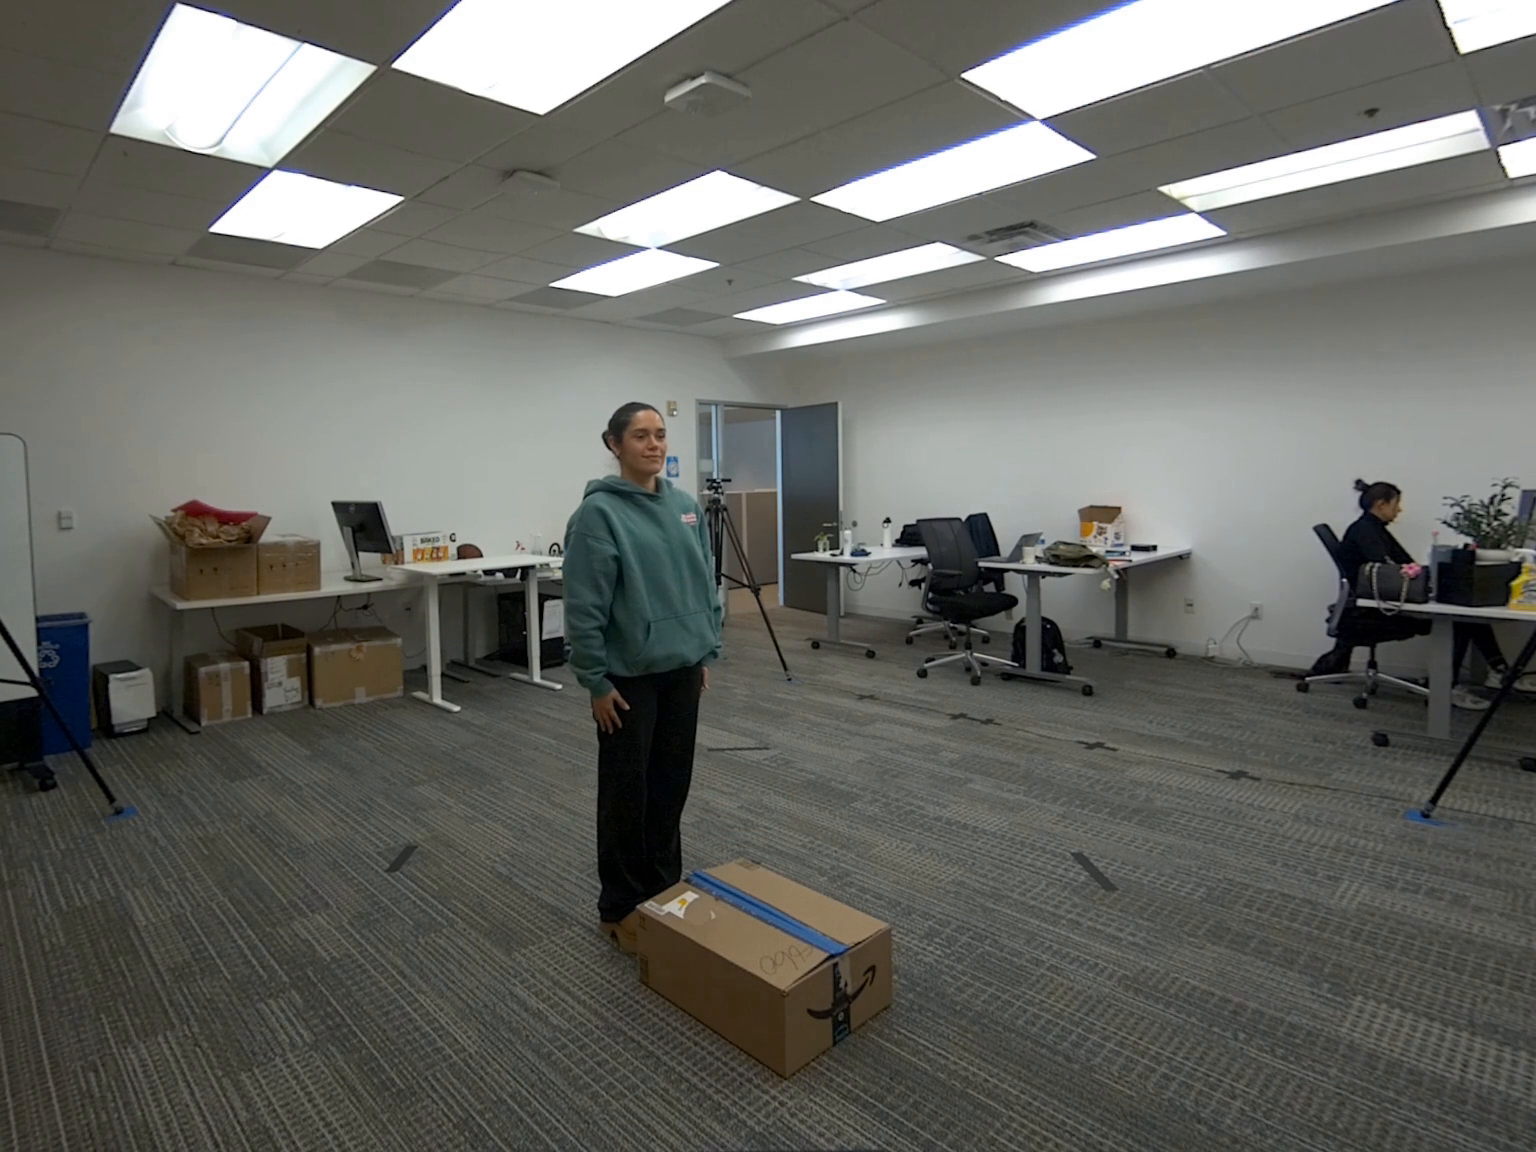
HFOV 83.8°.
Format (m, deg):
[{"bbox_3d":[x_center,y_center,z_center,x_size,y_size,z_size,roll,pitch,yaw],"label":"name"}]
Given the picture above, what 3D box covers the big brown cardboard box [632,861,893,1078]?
[{"bbox_3d":[-0.017,1.032,2.319,0.407,0.232,0.608,-8,10,-44],"label":"big brown cardboard box"}]
